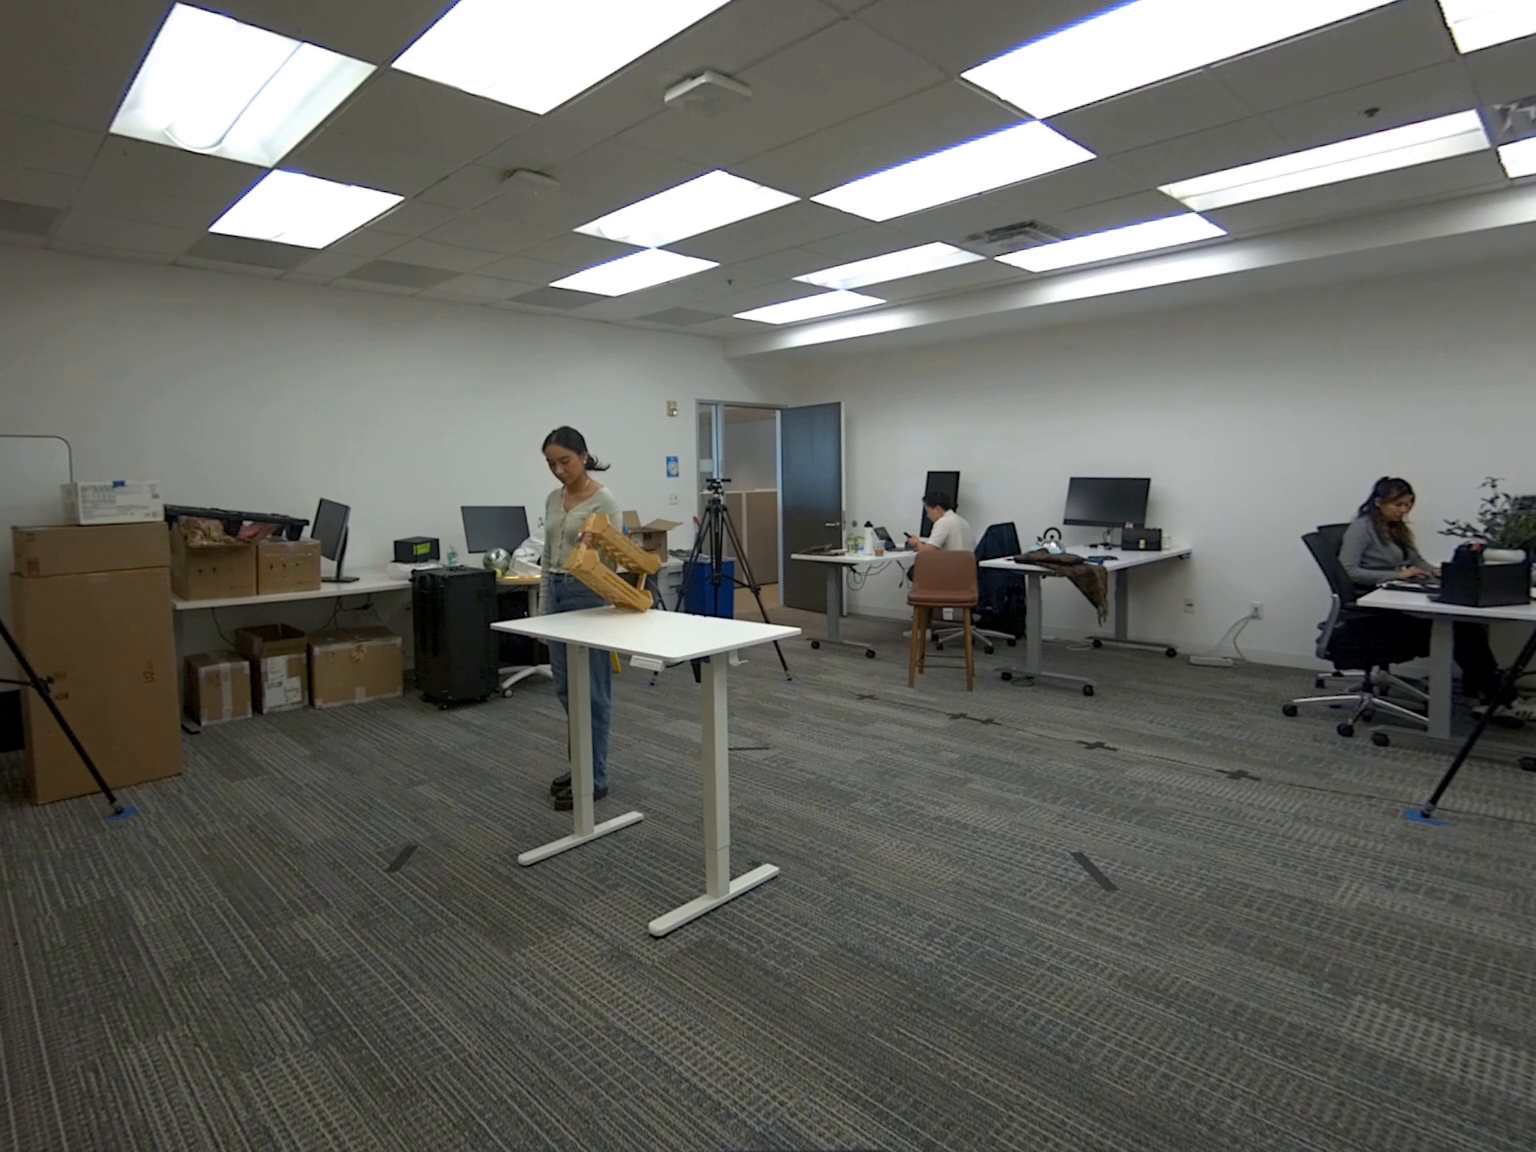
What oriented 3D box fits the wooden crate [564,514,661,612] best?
[{"bbox_3d":[-0.600,-0.059,3.420,0.313,0.275,0.311,40,-22,-32],"label":"wooden crate"}]
